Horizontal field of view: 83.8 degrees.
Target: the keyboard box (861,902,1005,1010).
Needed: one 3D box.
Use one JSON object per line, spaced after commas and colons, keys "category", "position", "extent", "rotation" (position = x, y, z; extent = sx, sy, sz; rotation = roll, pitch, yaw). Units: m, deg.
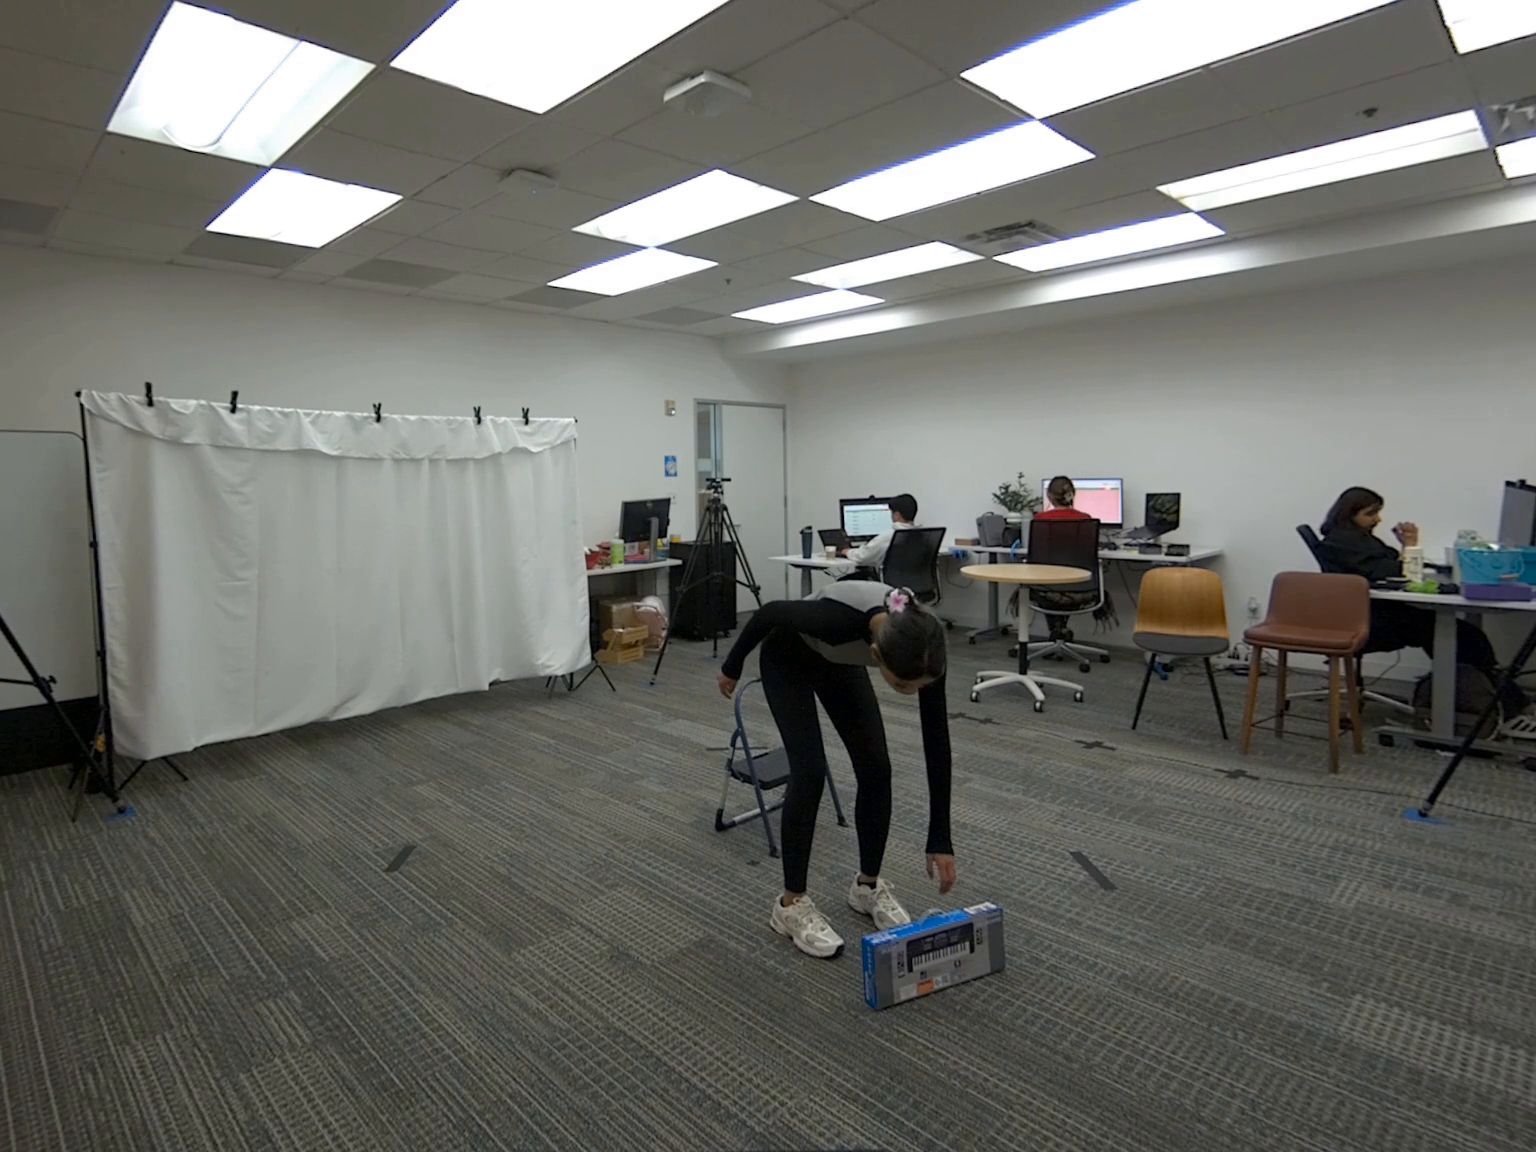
{"category": "keyboard box", "position": [0.465, 1.035, 2.343], "extent": [0.428, 0.176, 0.060], "rotation": [-4, 0, -25]}
